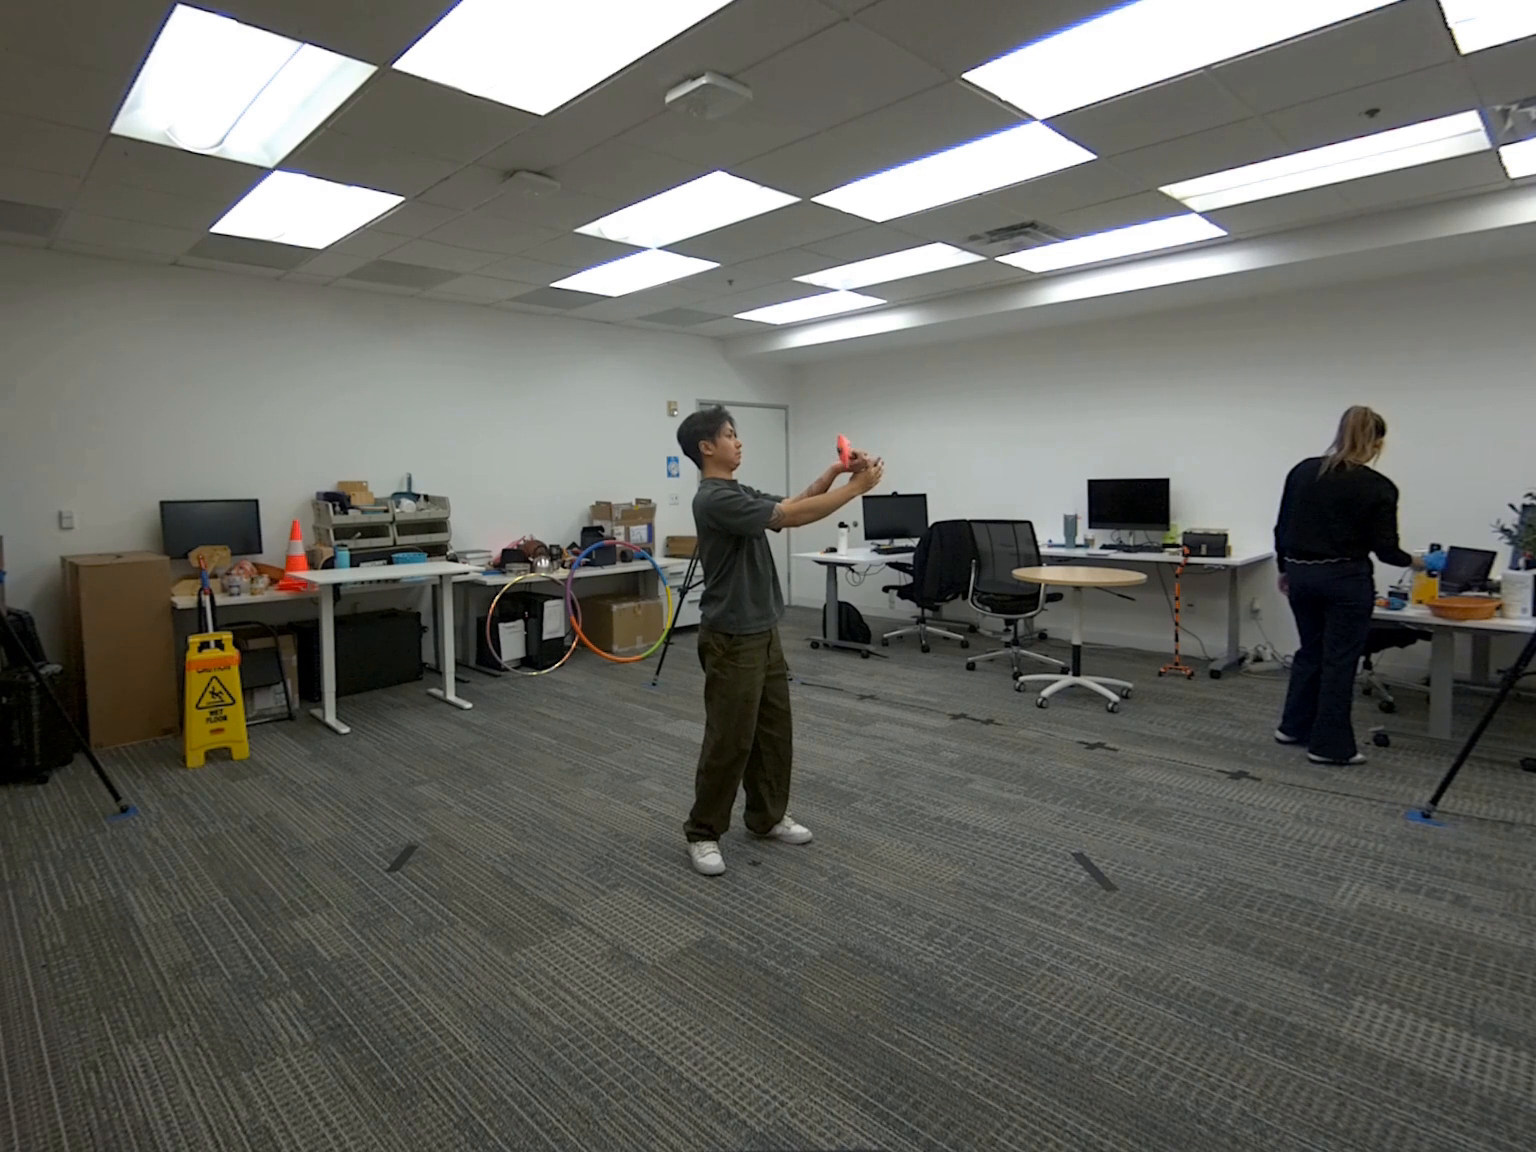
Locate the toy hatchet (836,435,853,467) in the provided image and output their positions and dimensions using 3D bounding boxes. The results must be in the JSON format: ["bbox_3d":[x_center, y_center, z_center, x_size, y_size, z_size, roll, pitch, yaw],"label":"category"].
[{"bbox_3d":[0.326,-0.449,3.052,0.030,0.132,0.264,-30,-10,35],"label":"toy hatchet"}]
